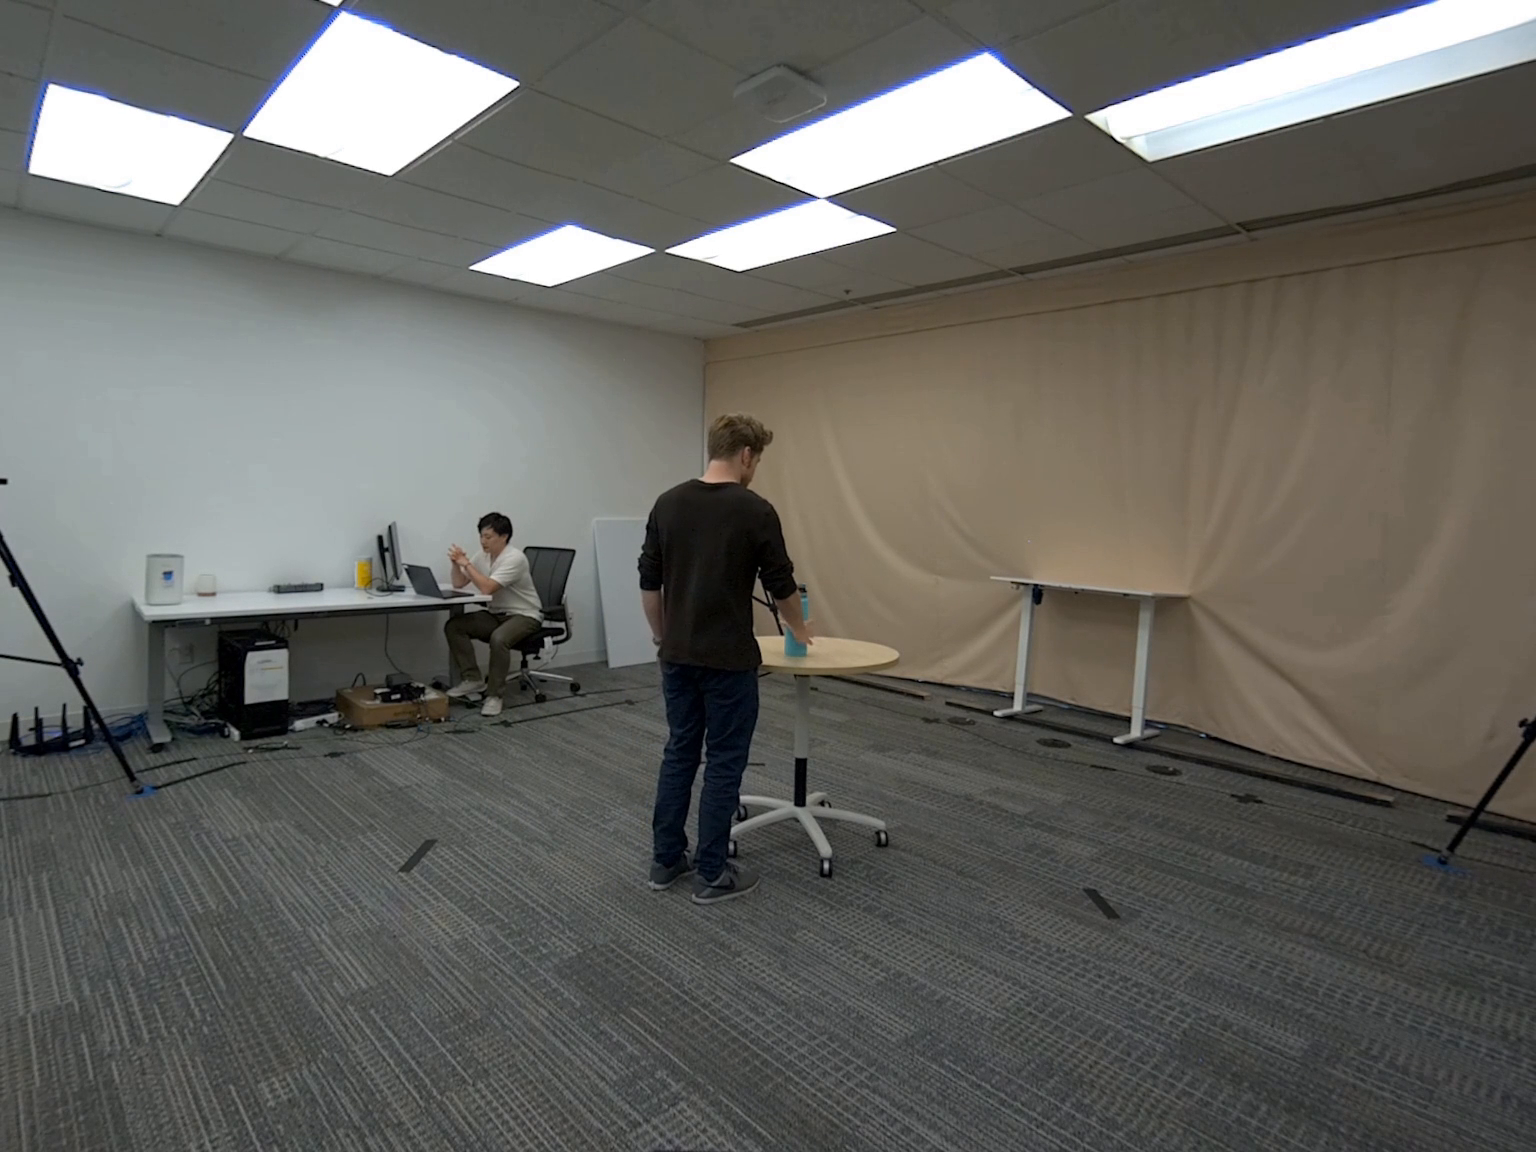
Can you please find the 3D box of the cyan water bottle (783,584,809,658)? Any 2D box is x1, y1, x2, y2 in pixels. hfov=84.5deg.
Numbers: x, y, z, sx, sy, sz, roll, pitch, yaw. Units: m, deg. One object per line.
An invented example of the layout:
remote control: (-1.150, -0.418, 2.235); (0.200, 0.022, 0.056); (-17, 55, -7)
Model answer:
cyan water bottle: (0.104, 0.171, 3.323); (0.092, 0.283, 0.092); (3, 2, -2)
